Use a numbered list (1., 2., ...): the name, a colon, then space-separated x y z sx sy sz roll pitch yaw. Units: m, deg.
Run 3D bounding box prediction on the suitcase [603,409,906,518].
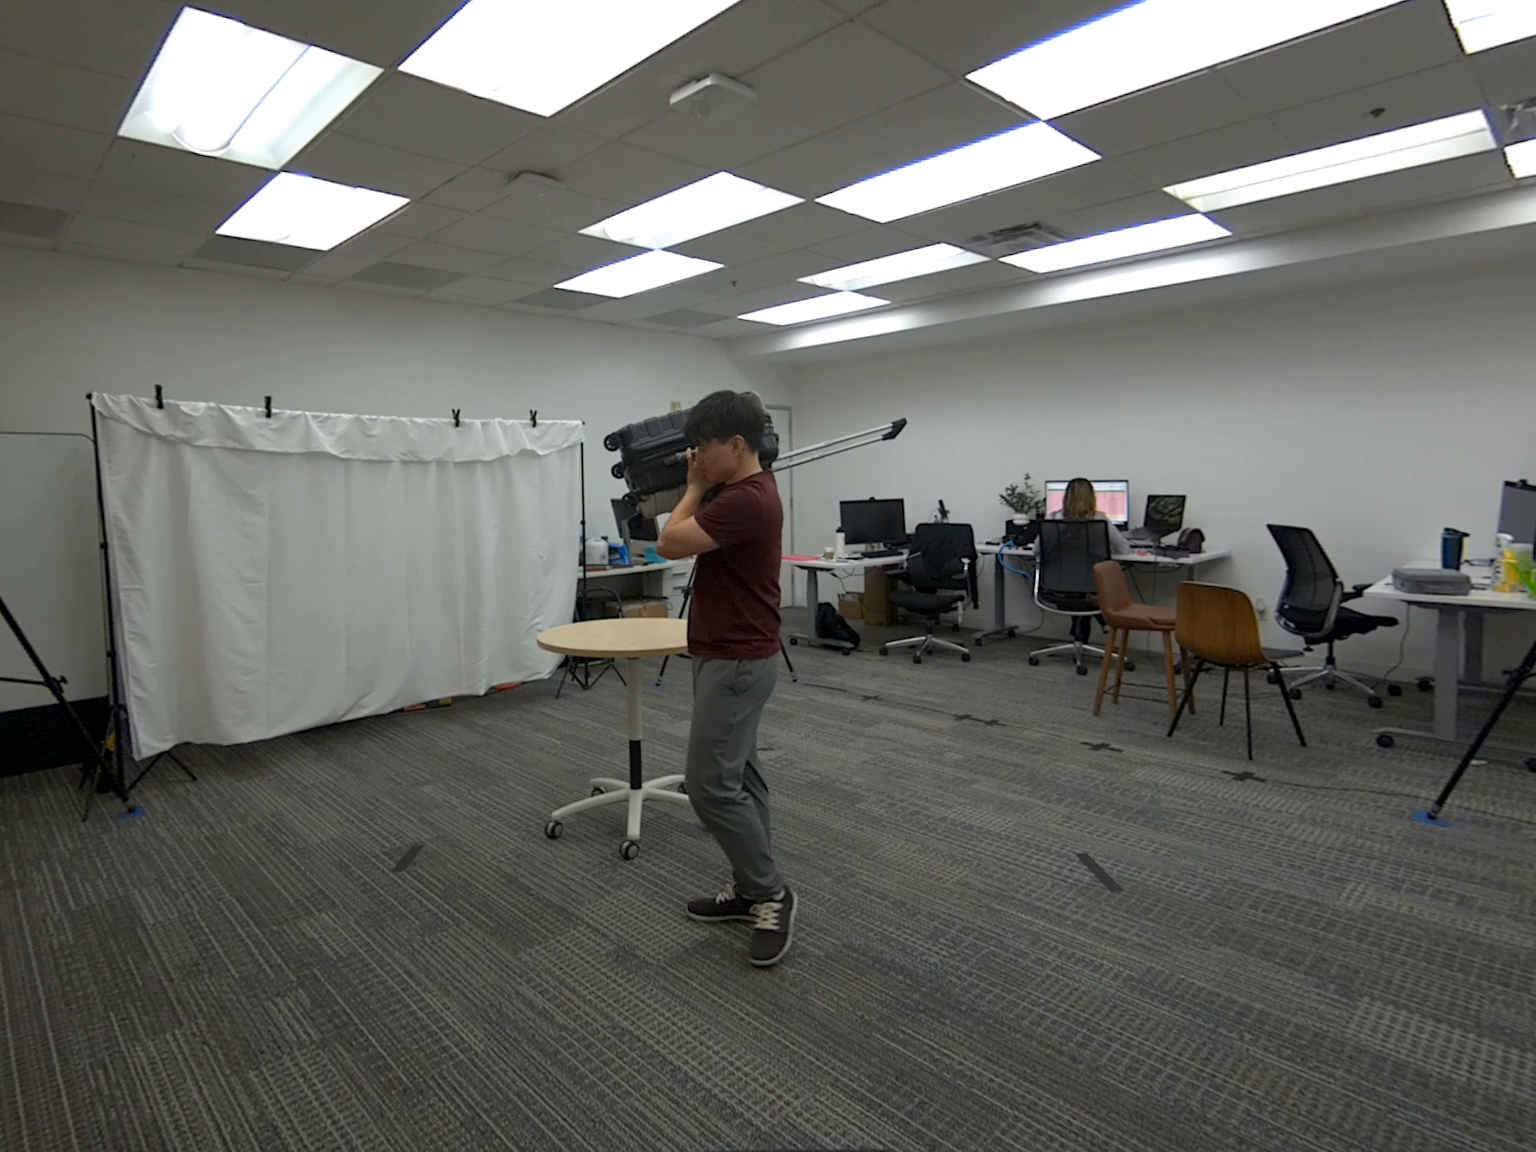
1. suitcase: -0.050 -0.461 2.870 0.974 0.260 0.380 -19 -10 -6
